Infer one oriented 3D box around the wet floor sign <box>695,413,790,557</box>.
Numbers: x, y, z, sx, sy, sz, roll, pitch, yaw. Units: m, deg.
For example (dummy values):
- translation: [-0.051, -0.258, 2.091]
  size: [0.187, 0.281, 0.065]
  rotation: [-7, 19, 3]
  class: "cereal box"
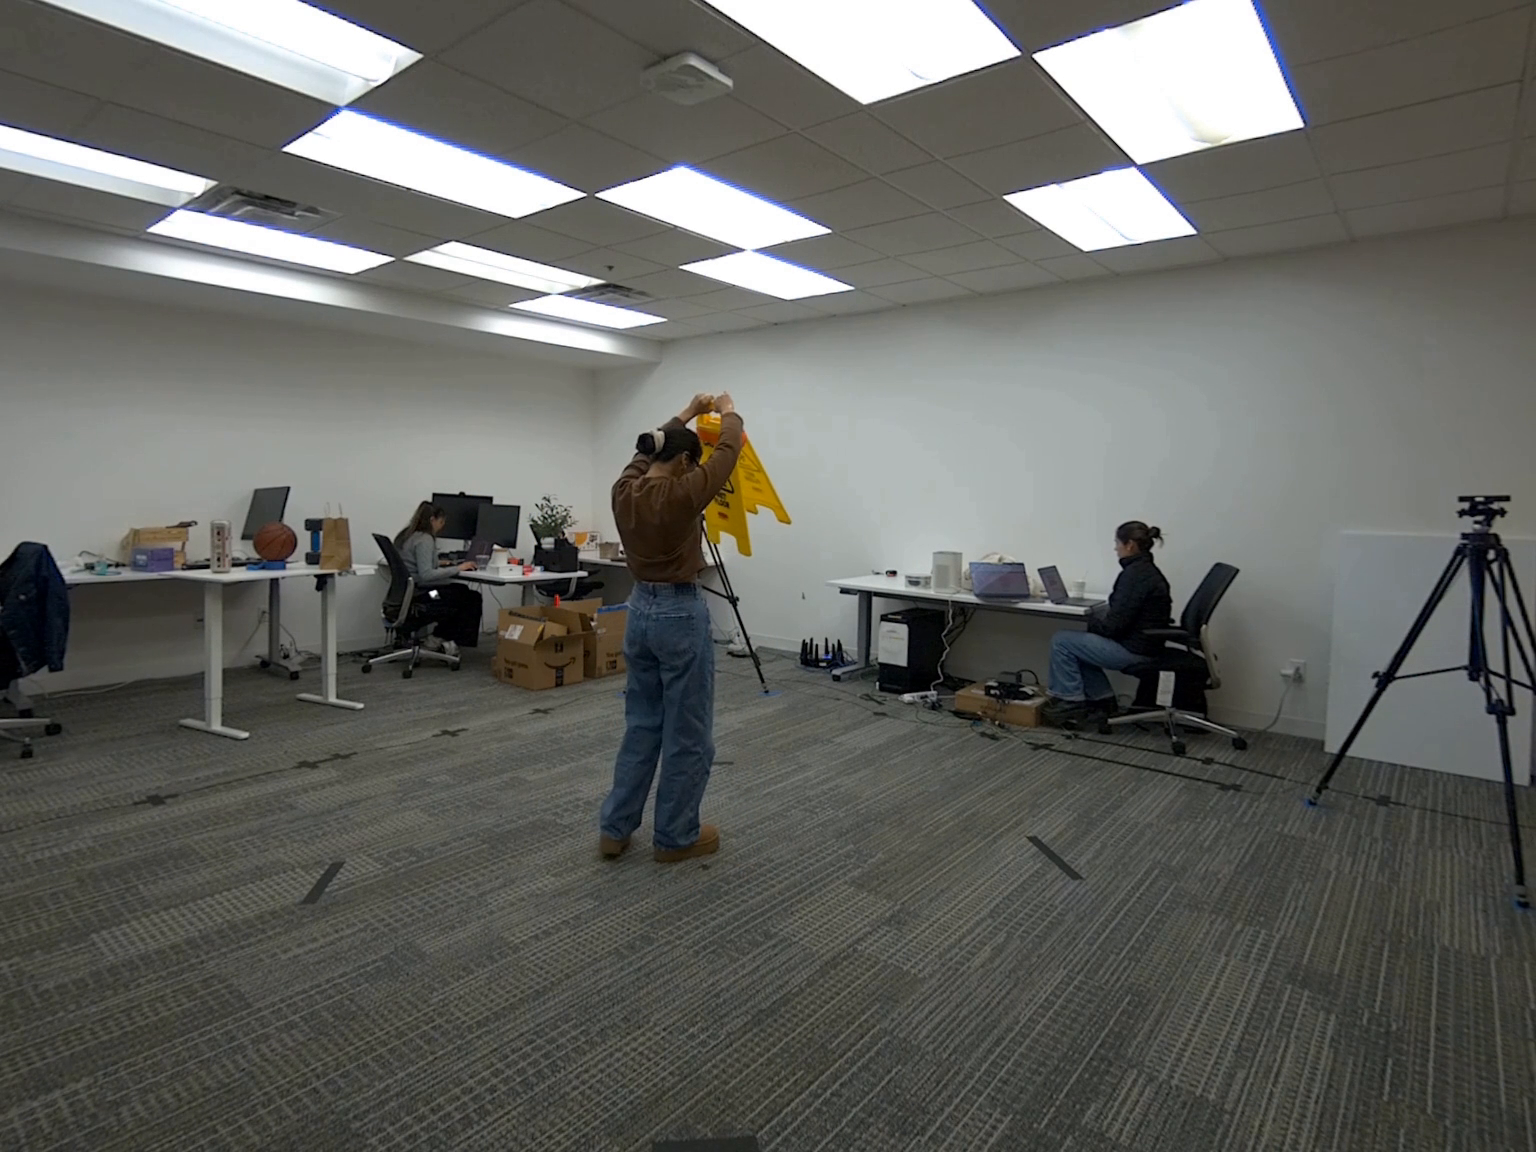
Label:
- translation: [-0.164, -0.449, 3.578]
  size: [0.287, 0.626, 0.293]
  rotation: [-36, 37, -31]
  class: "wet floor sign"
